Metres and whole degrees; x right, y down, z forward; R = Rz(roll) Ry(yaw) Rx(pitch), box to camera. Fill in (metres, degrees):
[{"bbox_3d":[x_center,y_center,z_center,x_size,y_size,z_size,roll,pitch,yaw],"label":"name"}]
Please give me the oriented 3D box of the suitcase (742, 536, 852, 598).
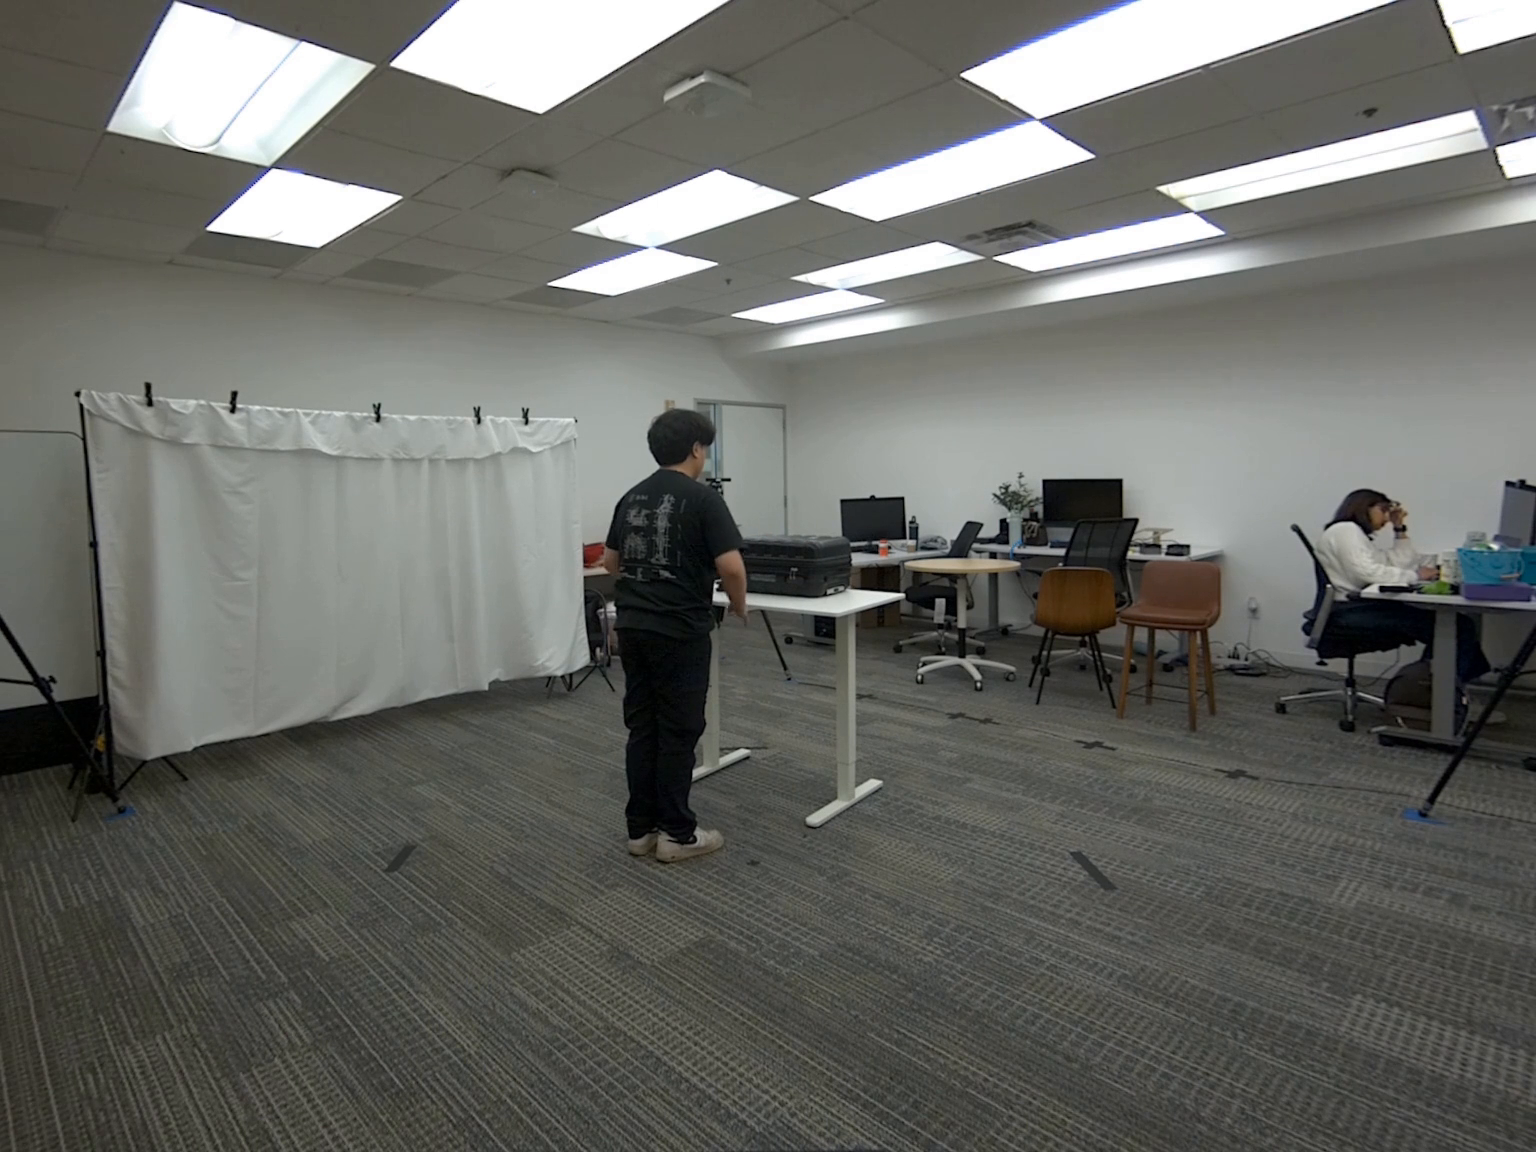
[{"bbox_3d":[0.086,-0.050,3.886,0.565,0.247,0.366,3,6,35],"label":"suitcase"}]
